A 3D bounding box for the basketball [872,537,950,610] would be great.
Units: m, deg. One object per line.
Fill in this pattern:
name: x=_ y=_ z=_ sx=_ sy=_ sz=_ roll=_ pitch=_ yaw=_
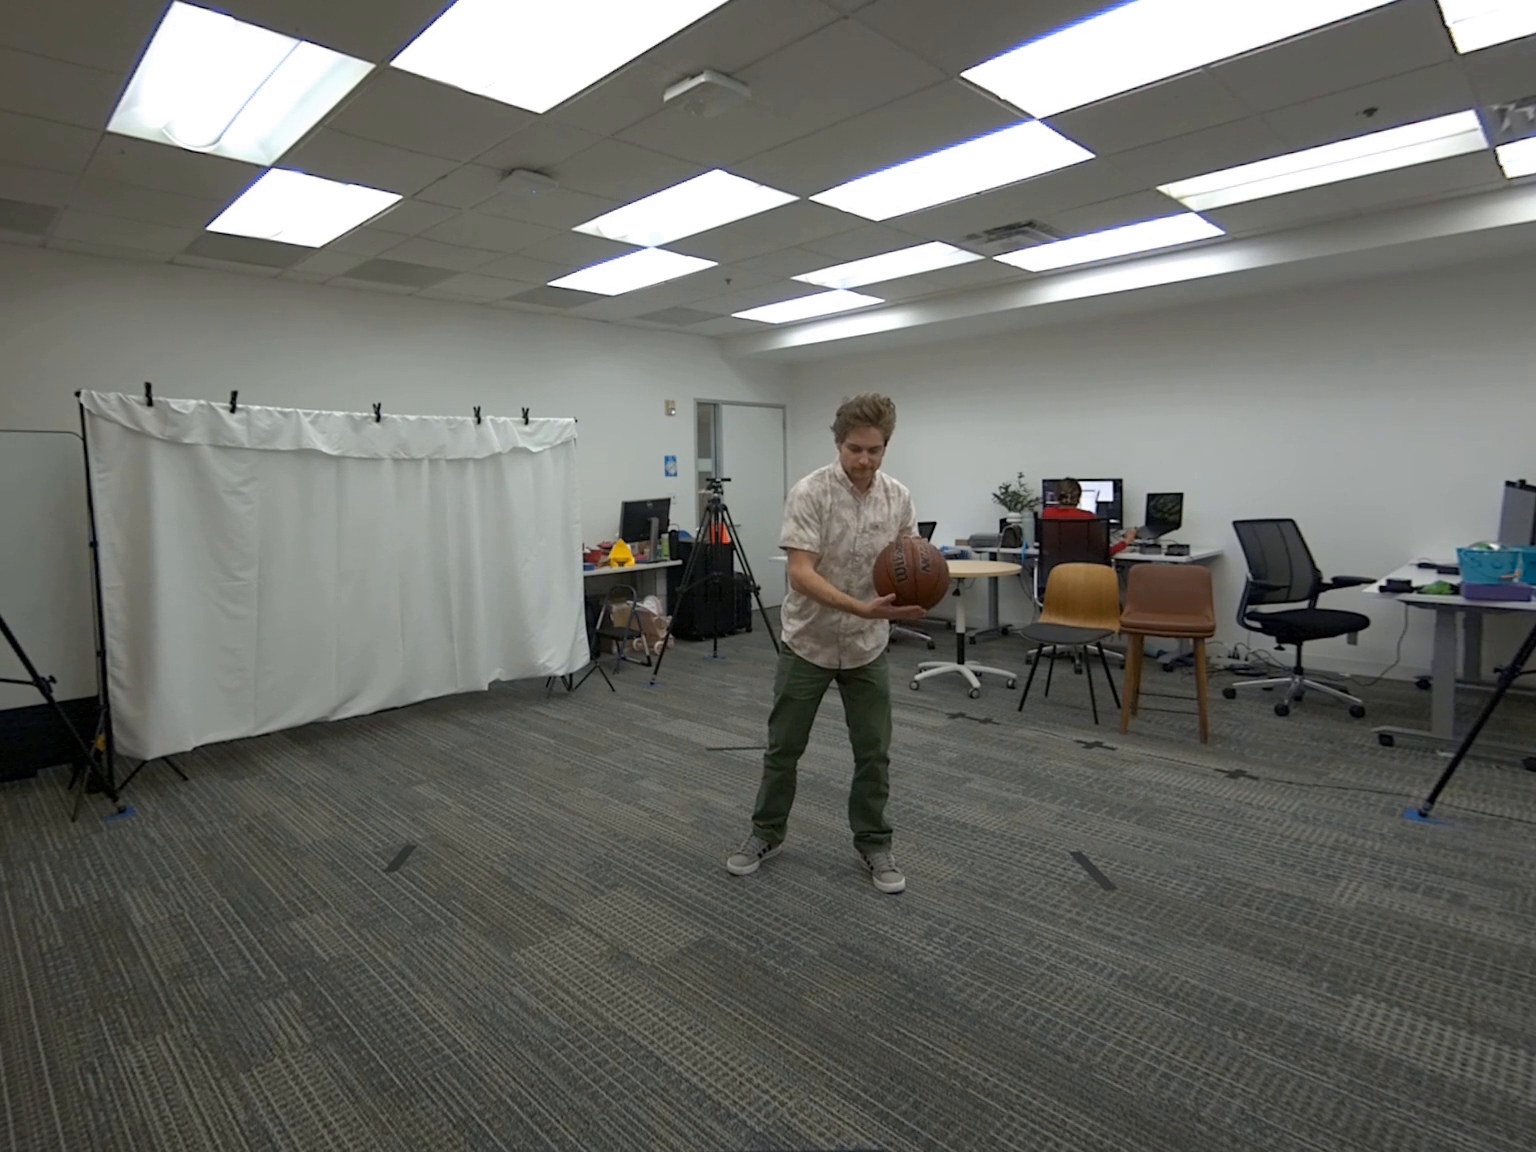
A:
basketball: x=0.453 y=0.002 z=2.705 sx=0.236 sy=0.235 sz=0.237 roll=-1 pitch=5 yaw=-2
